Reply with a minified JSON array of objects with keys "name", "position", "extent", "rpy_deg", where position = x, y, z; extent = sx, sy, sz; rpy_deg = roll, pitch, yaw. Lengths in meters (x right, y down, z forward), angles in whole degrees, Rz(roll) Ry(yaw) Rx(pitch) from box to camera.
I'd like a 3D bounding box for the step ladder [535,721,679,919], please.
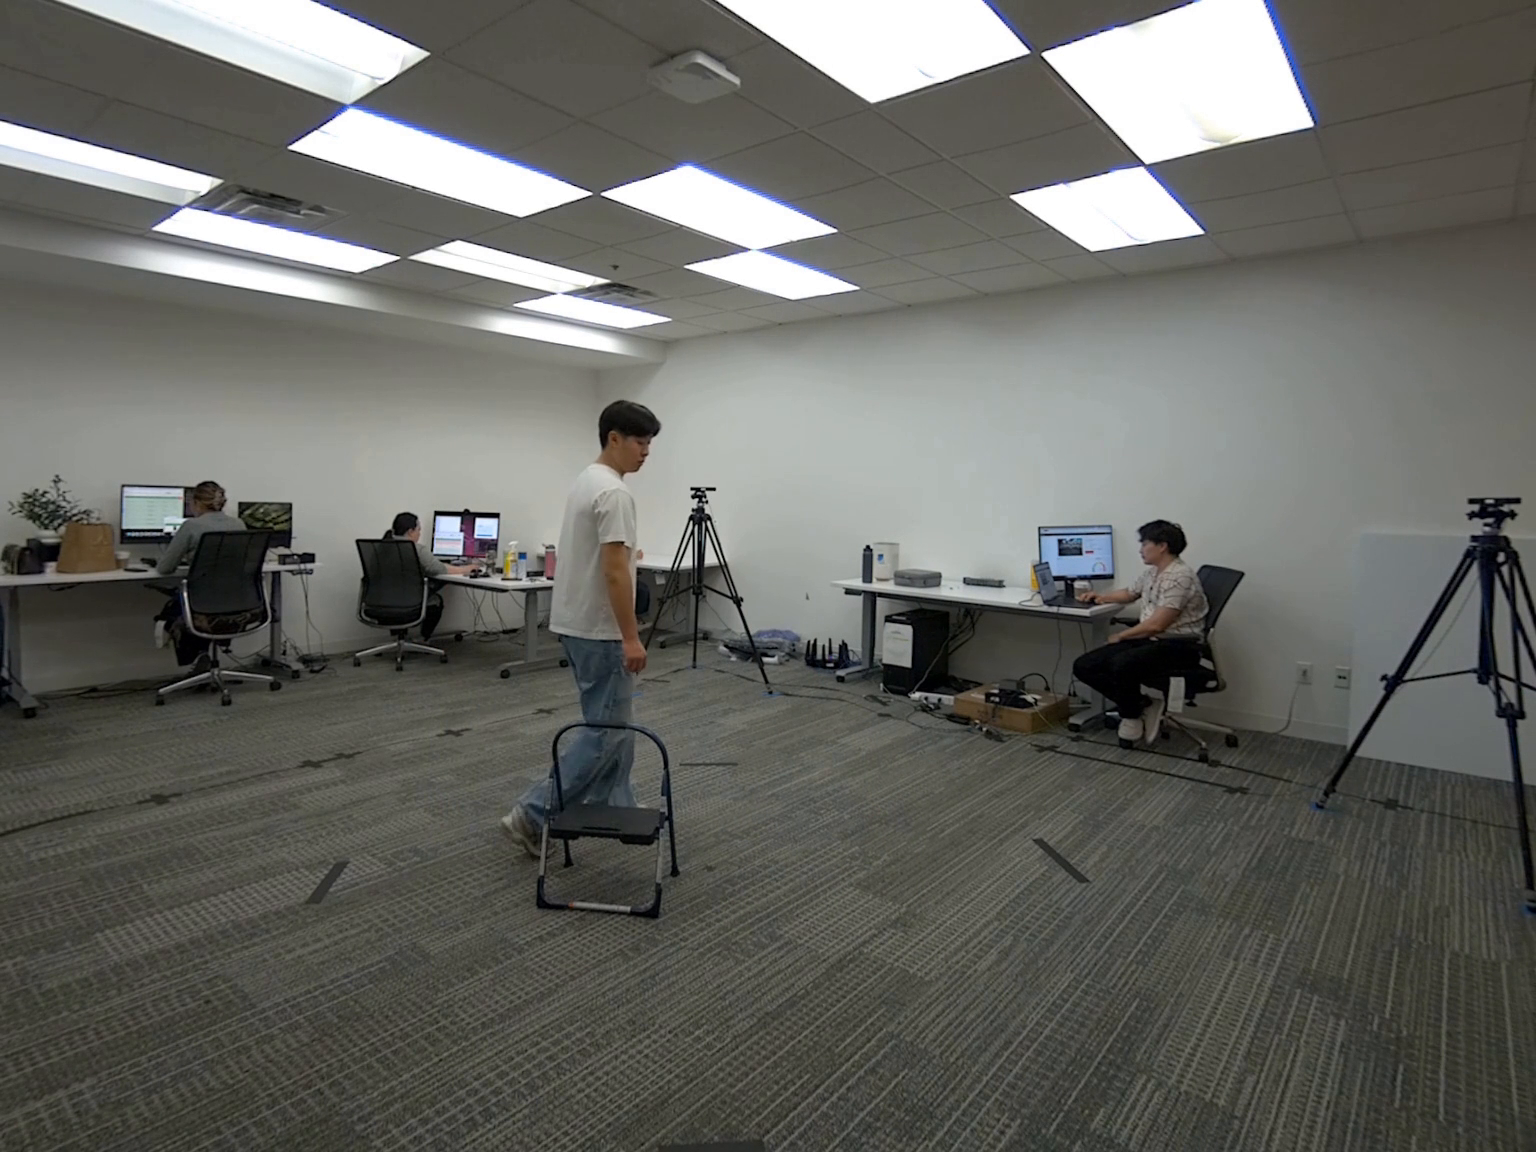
[{"name":"step ladder","position":[-0.548,0.777,2.911],"extent":[0.434,0.604,0.348],"rpy_deg":[1,3,6]}]
